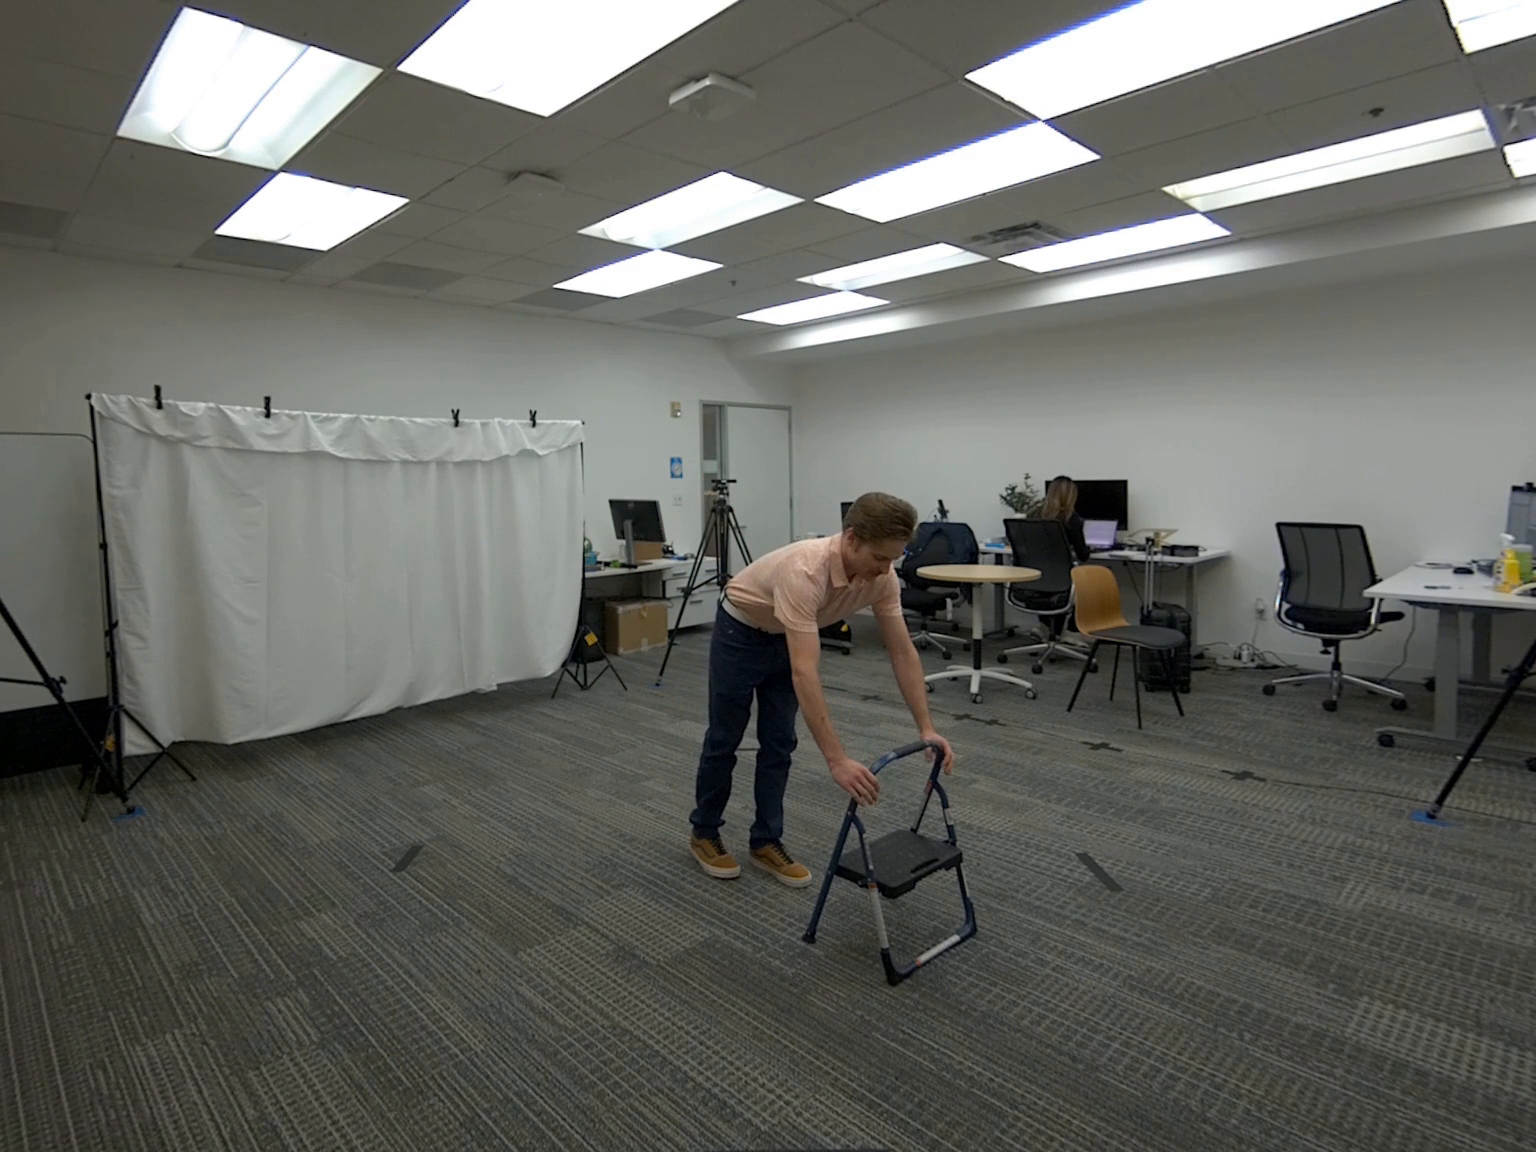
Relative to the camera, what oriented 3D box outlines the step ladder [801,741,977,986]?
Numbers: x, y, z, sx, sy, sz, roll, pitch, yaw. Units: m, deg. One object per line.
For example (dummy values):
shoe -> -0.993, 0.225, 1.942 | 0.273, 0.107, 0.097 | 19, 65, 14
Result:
step ladder -> 0.372, 0.796, 2.586 | 0.419, 0.604, 0.360 | -6, 6, -43
